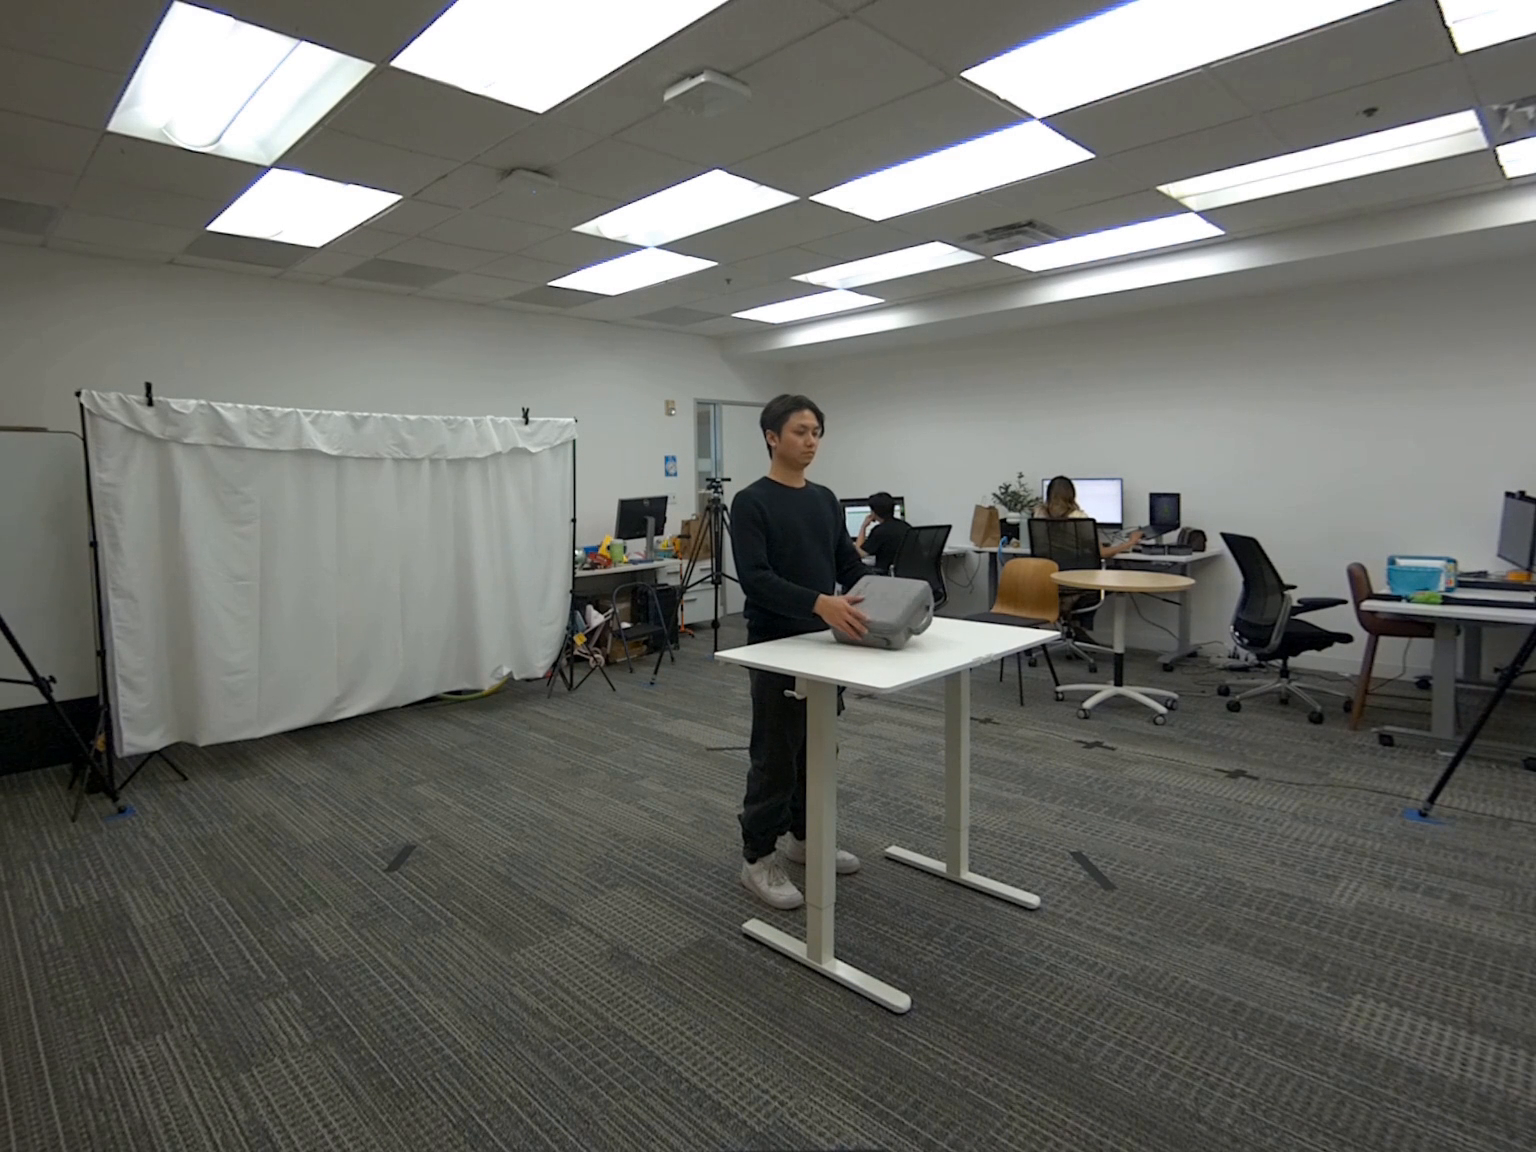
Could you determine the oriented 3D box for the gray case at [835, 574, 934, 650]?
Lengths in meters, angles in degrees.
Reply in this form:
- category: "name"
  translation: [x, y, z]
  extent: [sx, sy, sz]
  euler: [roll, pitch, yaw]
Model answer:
- category: "gray case"
  translation: [0.356, 0.108, 2.636]
  extent: [0.268, 0.102, 0.256]
  euler: [3, 32, 38]
